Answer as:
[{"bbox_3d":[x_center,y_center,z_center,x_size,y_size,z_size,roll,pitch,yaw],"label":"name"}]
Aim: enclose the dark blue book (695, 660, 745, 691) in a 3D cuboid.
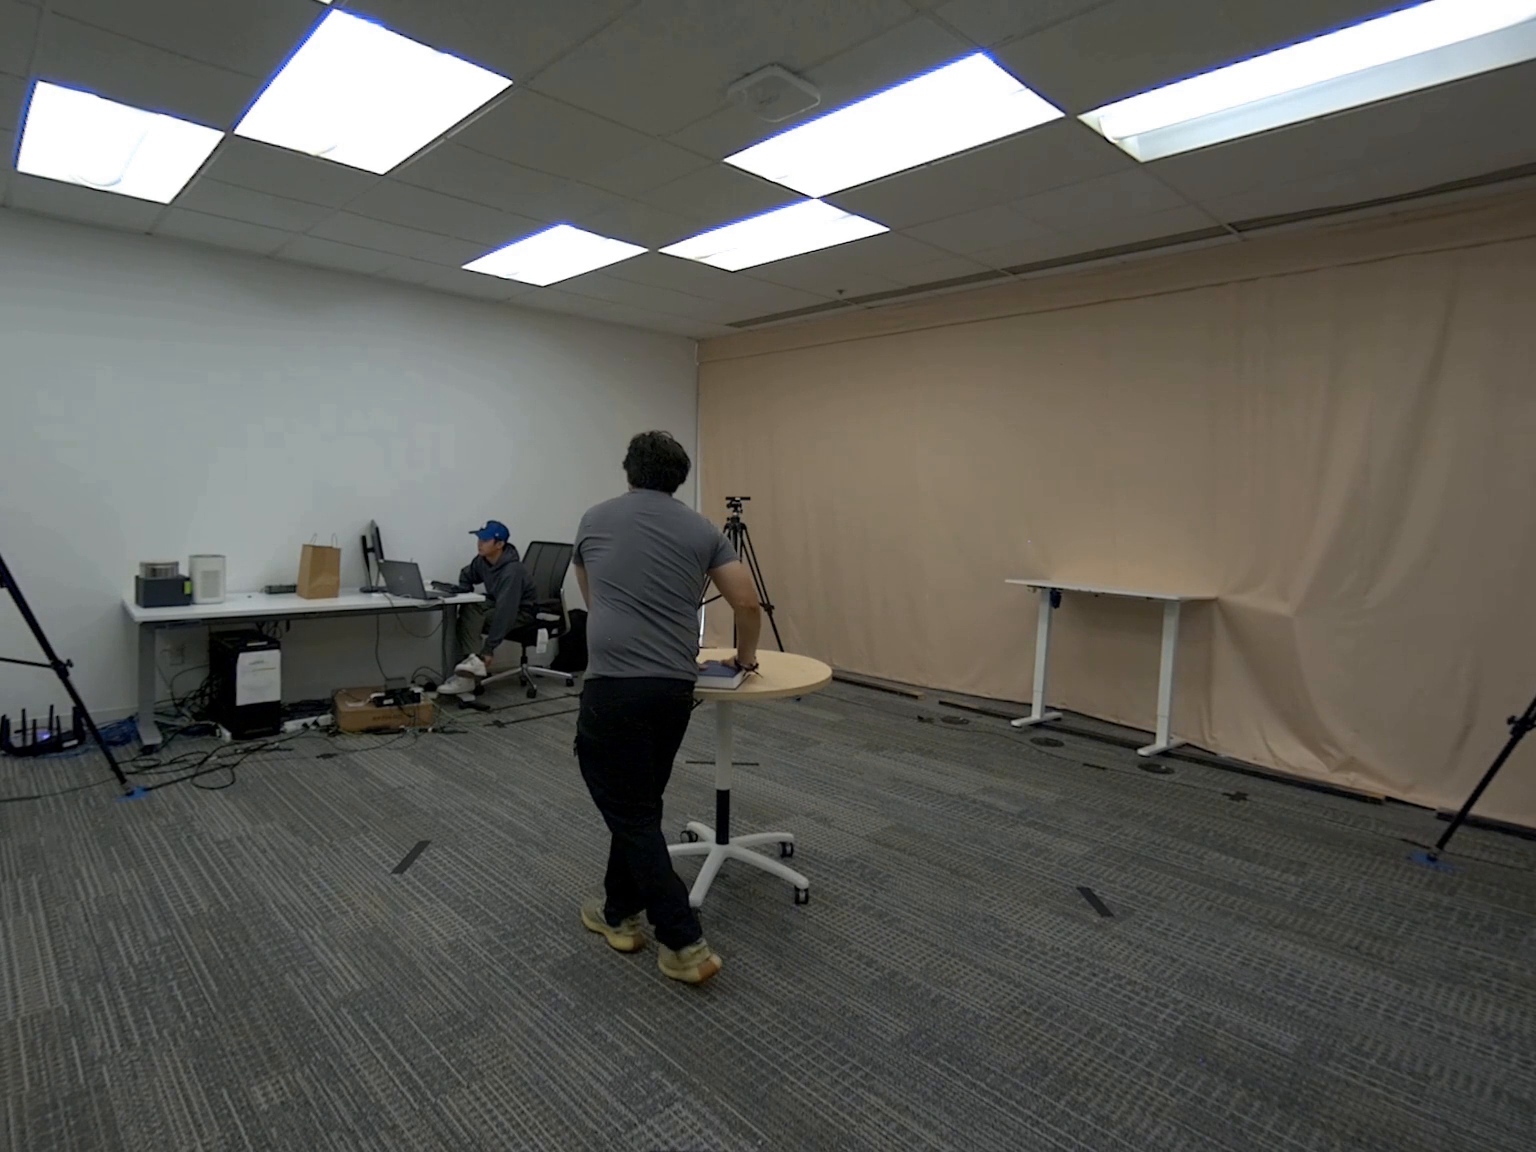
[{"bbox_3d":[-0.168,0.332,2.804,0.165,0.045,0.243,3,6,10],"label":"dark blue book"}]
